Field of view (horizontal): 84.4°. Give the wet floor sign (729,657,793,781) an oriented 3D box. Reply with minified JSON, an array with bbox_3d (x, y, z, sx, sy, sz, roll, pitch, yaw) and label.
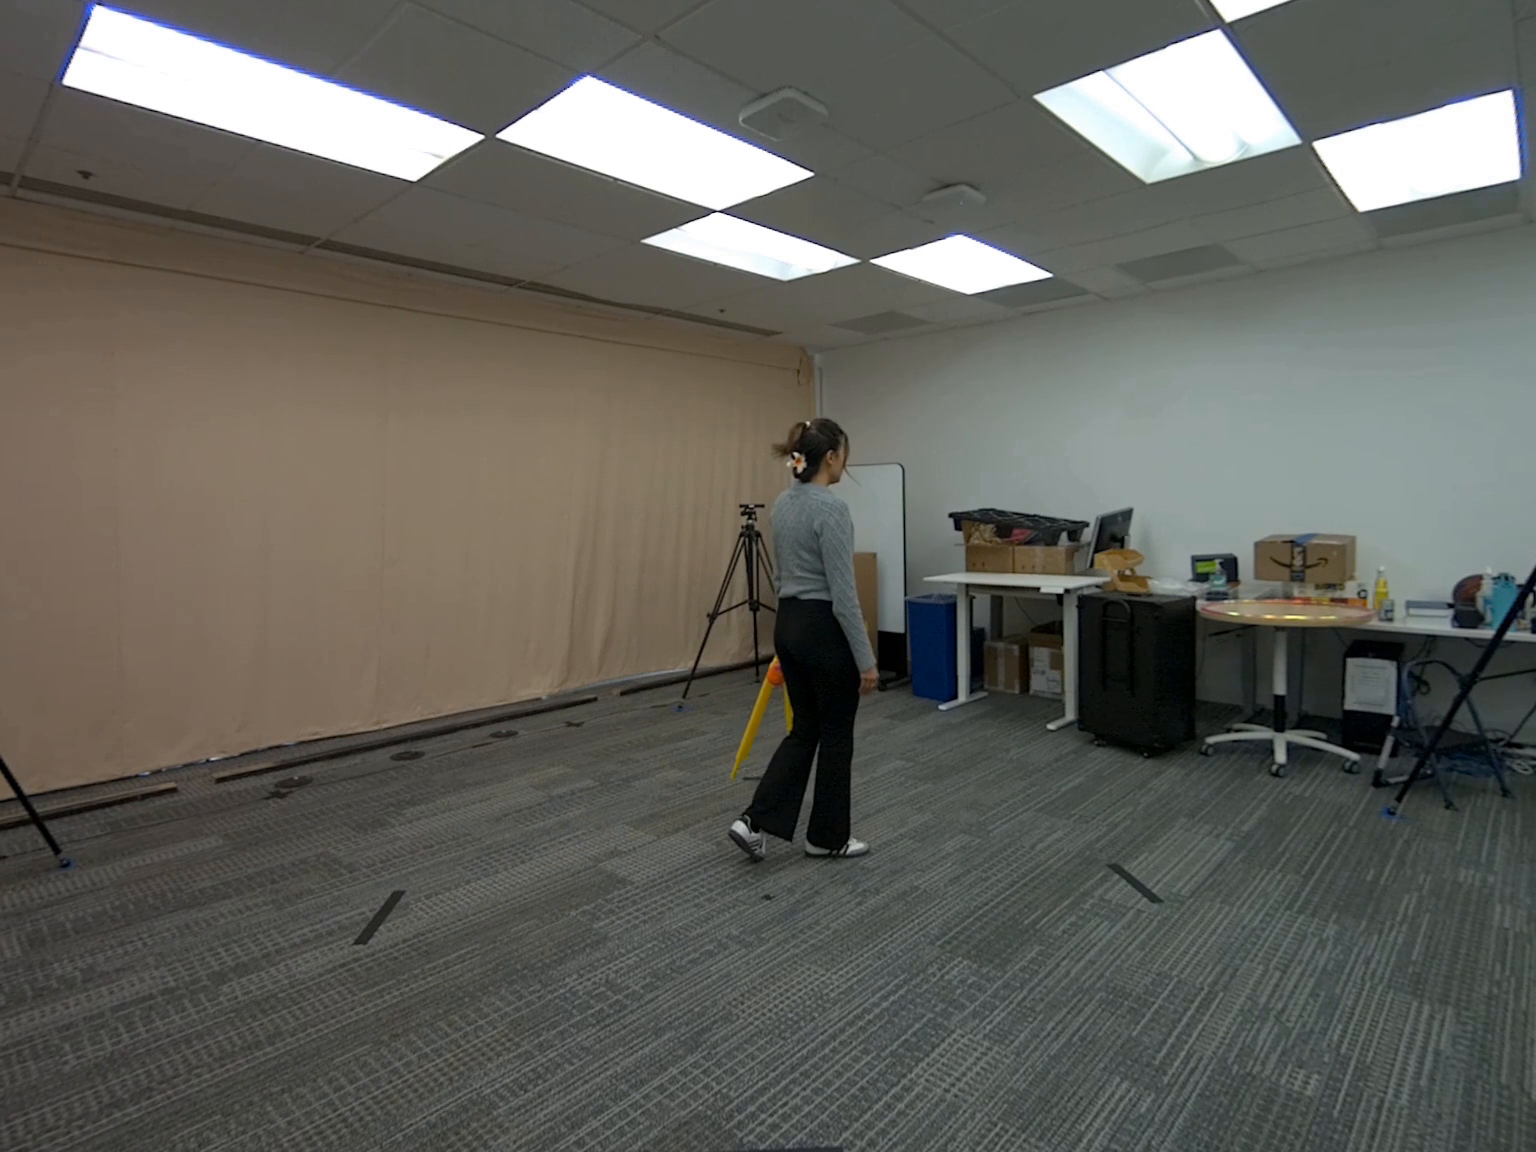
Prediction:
[{"bbox_3d":[0.049,0.569,3.657,0.294,0.642,0.280,9,11,12],"label":"wet floor sign"}]
